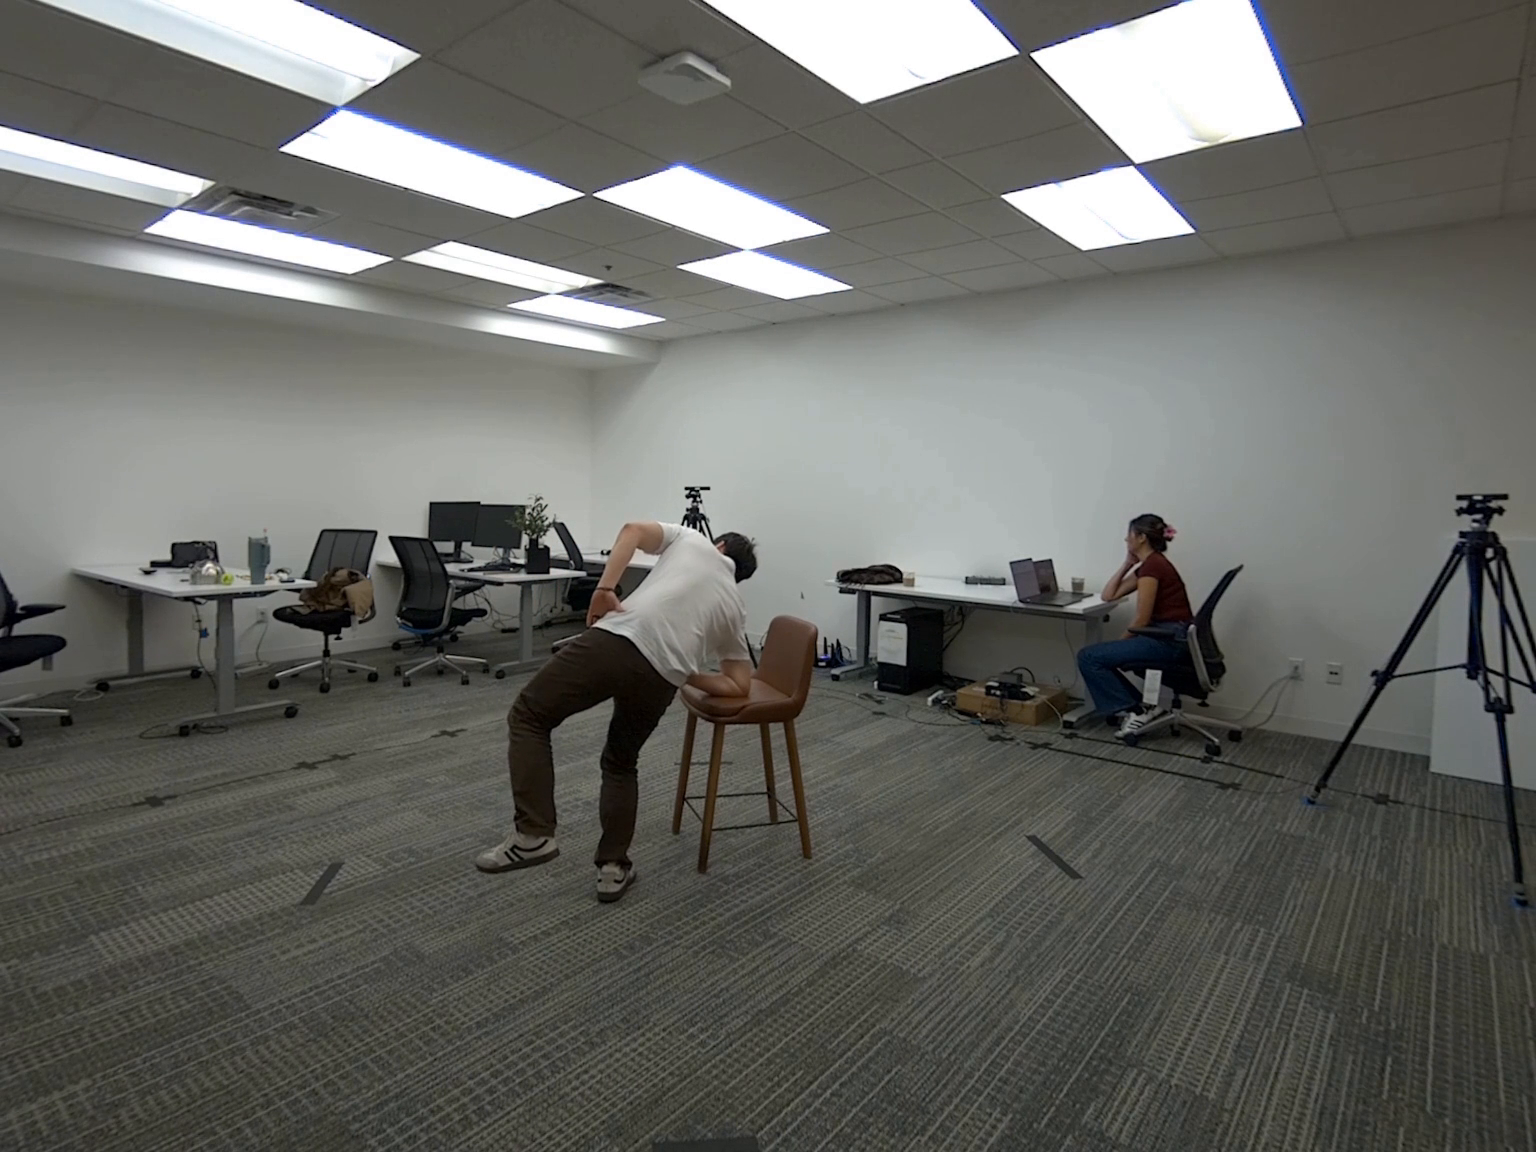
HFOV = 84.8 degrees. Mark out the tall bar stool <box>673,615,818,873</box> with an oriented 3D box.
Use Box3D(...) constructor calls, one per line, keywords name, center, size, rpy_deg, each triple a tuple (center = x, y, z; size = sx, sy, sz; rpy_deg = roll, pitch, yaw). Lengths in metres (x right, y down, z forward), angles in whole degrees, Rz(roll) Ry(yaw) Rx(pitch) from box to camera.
Box3D(name="tall bar stool", center=(-0.106, 0.612, 3.301), size=(0.458, 0.888, 0.467), rpy_deg=(1, 3, -20))
